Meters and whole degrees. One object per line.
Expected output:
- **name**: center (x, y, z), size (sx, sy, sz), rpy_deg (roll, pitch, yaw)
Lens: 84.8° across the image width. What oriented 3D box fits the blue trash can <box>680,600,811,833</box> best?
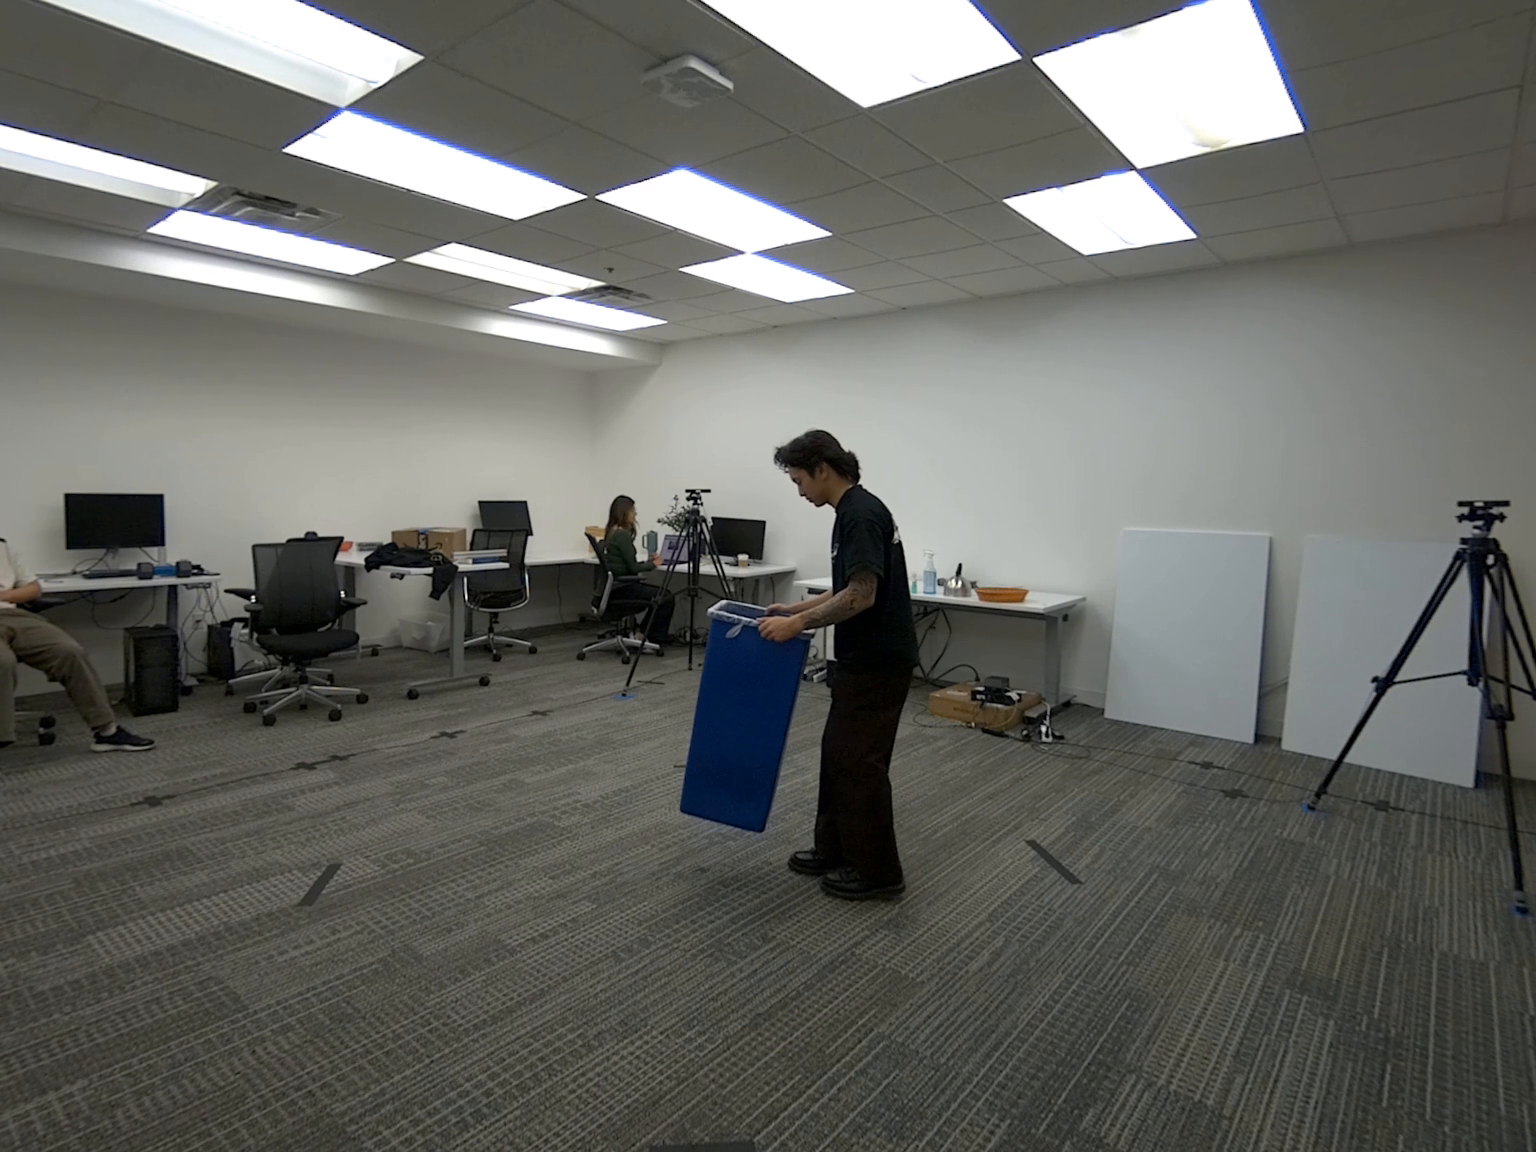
- **blue trash can**: center (-0.086, 0.490, 3.048), size (0.383, 0.711, 0.371), rpy_deg (11, 4, 8)
